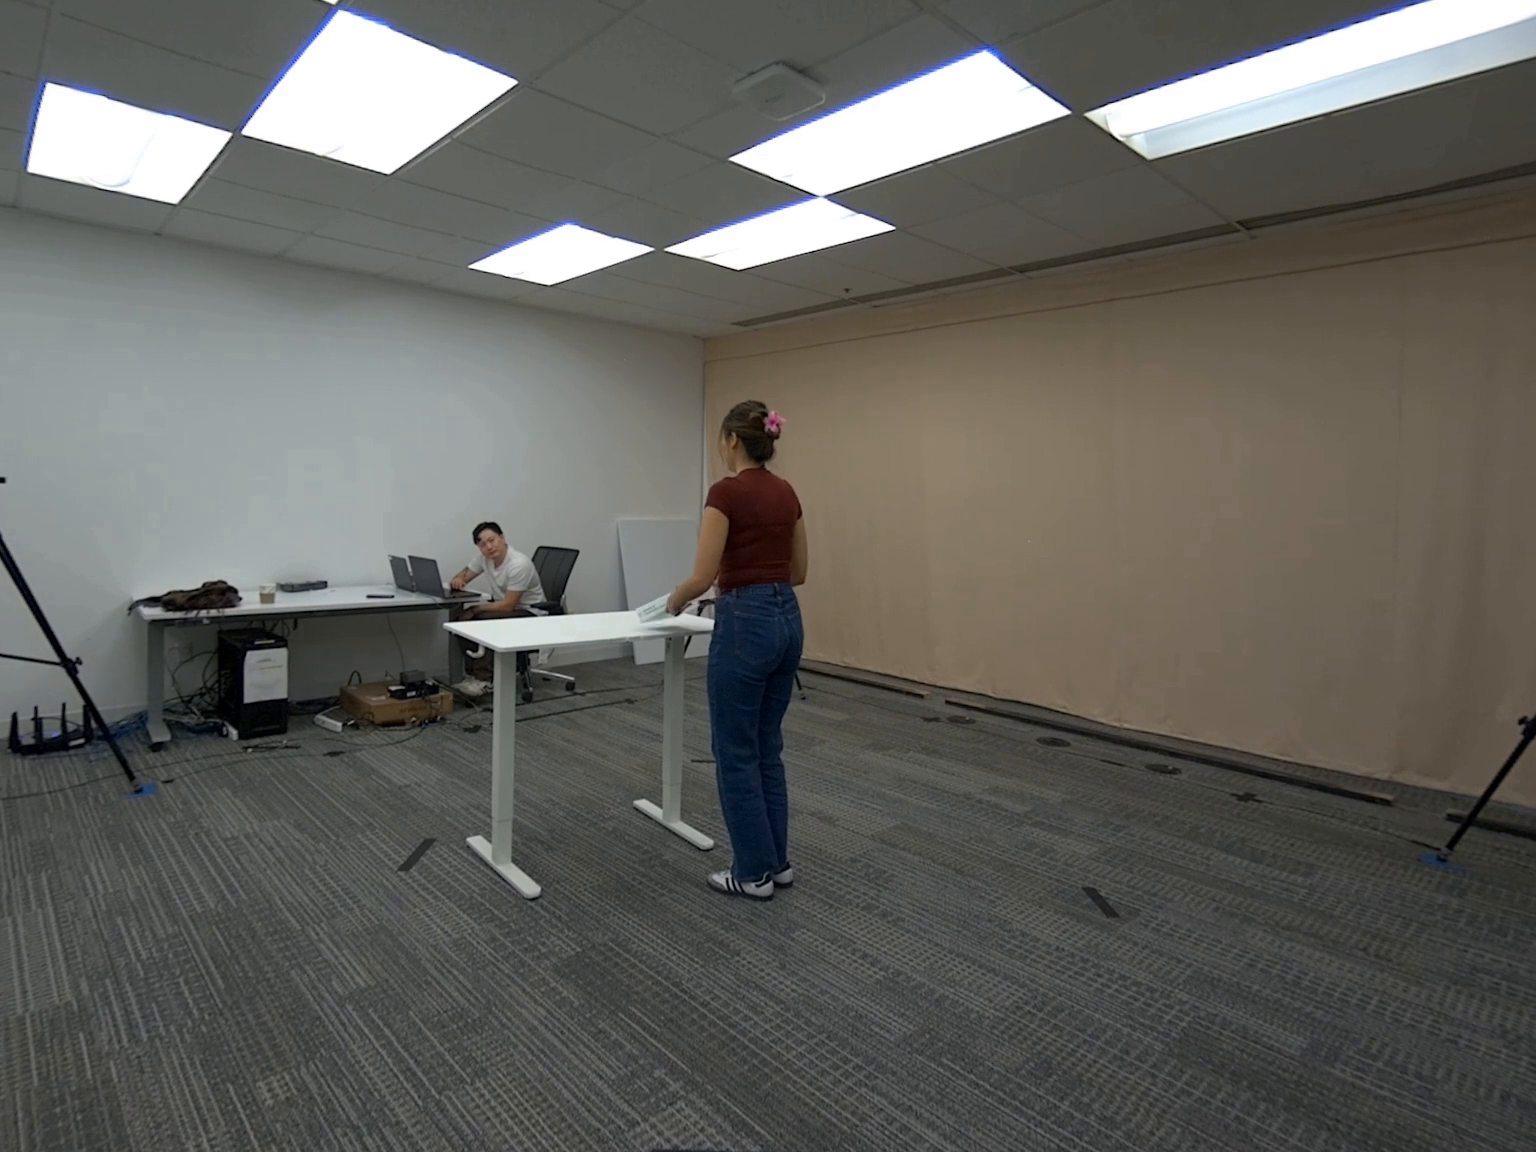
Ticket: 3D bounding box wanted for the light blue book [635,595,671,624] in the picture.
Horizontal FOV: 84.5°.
[{"bbox_3d":[-0.361,0.092,3.208,0.264,0.059,0.187,-22,-8,40],"label":"light blue book"}]
